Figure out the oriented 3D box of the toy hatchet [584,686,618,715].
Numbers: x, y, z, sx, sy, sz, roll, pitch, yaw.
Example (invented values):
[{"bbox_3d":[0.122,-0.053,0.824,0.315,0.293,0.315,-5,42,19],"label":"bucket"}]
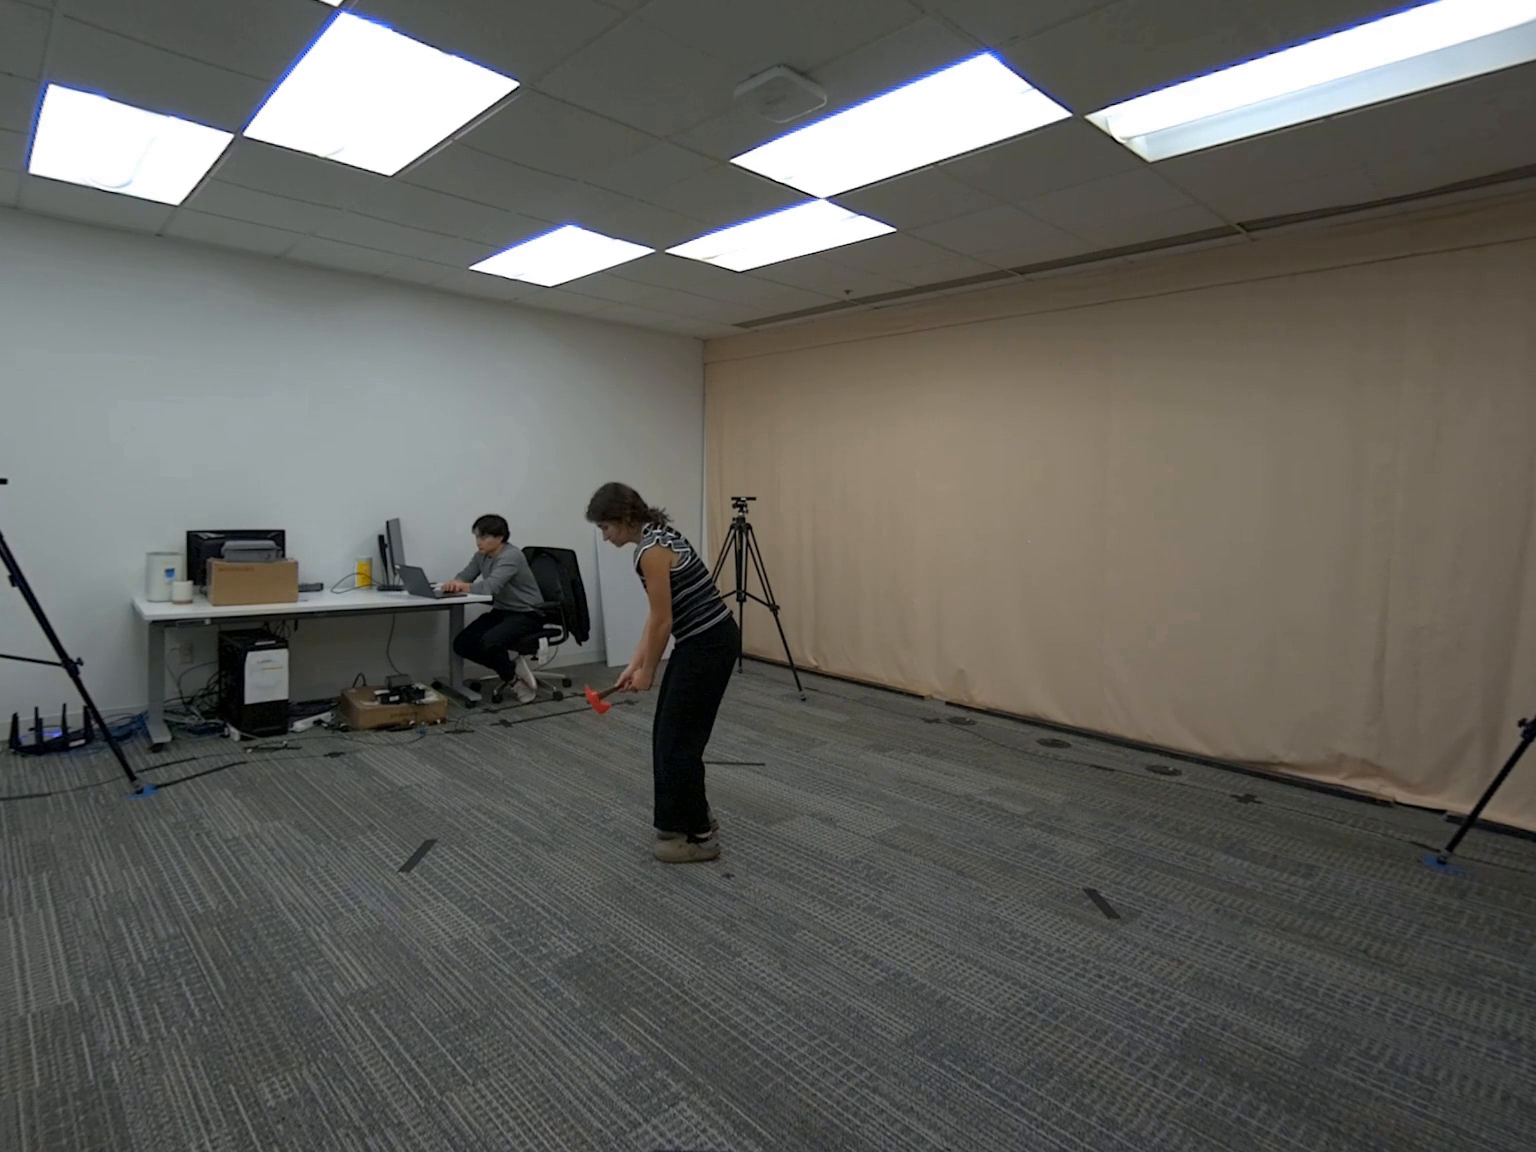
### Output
[{"bbox_3d":[-0.574,0.494,3.315,0.272,0.129,0.030,-2,14,9],"label":"toy hatchet"}]
